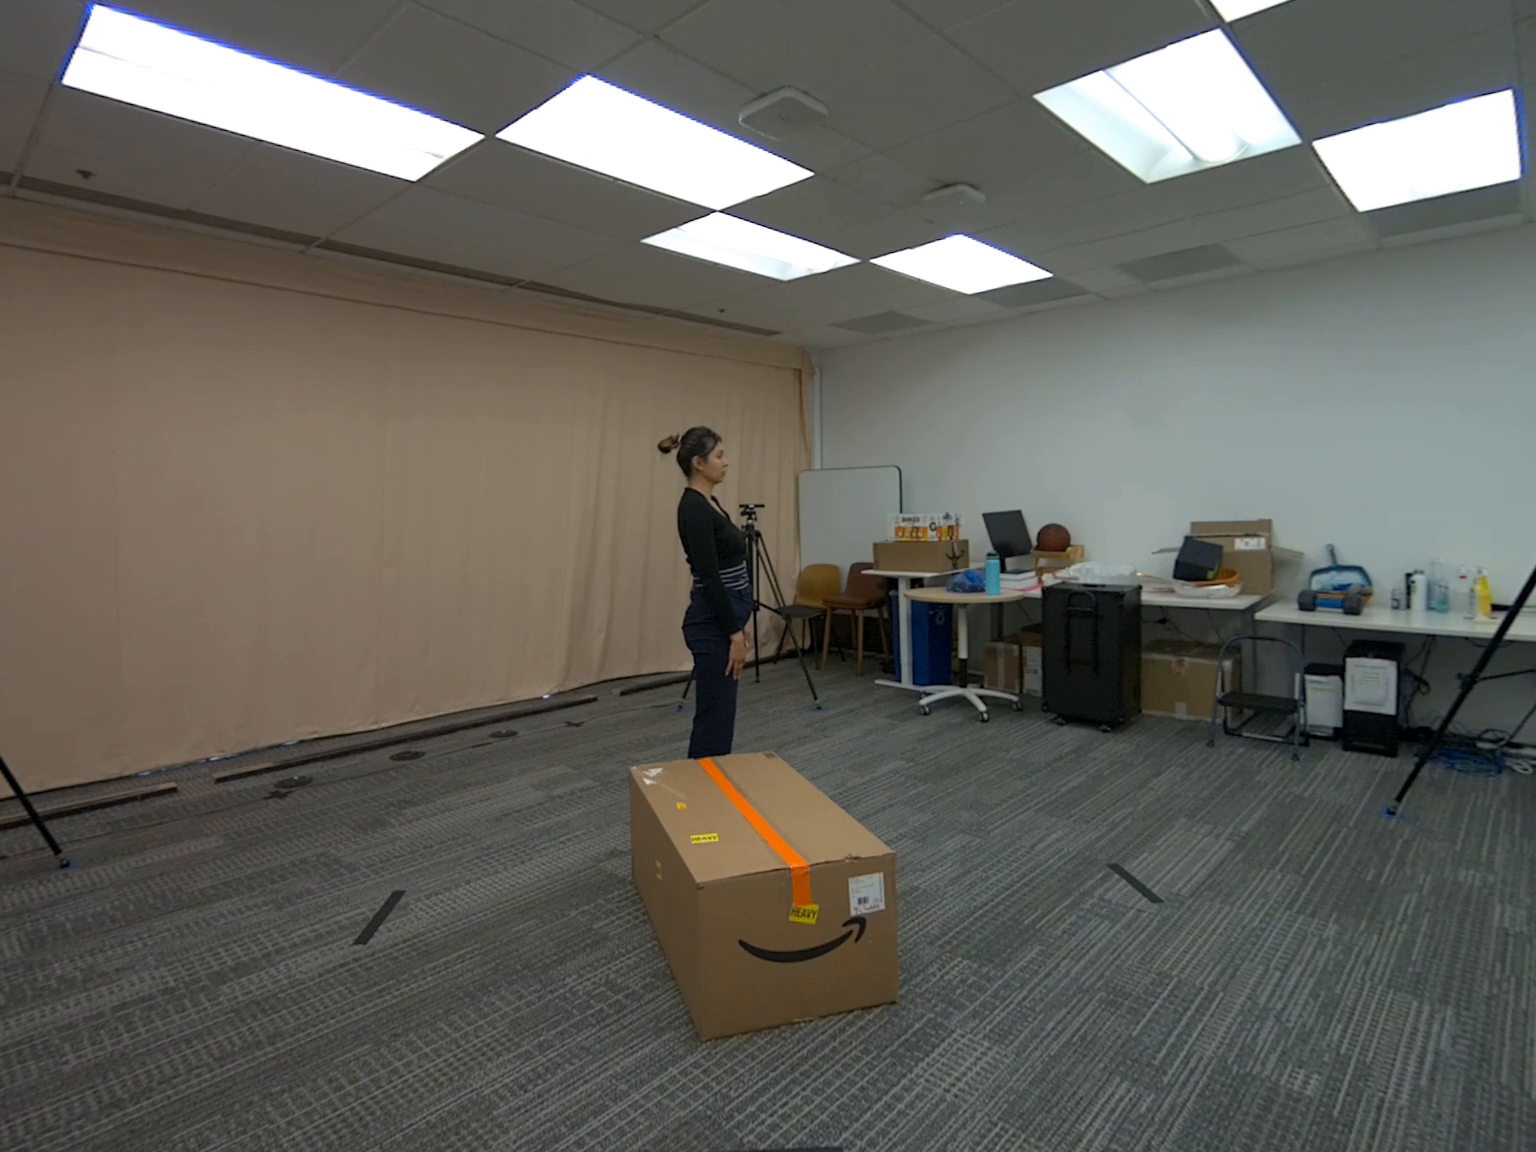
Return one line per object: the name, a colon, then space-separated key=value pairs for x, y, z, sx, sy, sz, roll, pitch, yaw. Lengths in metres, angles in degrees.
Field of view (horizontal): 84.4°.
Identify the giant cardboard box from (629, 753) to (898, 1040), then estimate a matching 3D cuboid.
giant cardboard box: x=-0.073 y=0.944 z=2.742 sx=0.567 sy=0.425 sz=1.047 roll=-3 pitch=5 yaw=-19
